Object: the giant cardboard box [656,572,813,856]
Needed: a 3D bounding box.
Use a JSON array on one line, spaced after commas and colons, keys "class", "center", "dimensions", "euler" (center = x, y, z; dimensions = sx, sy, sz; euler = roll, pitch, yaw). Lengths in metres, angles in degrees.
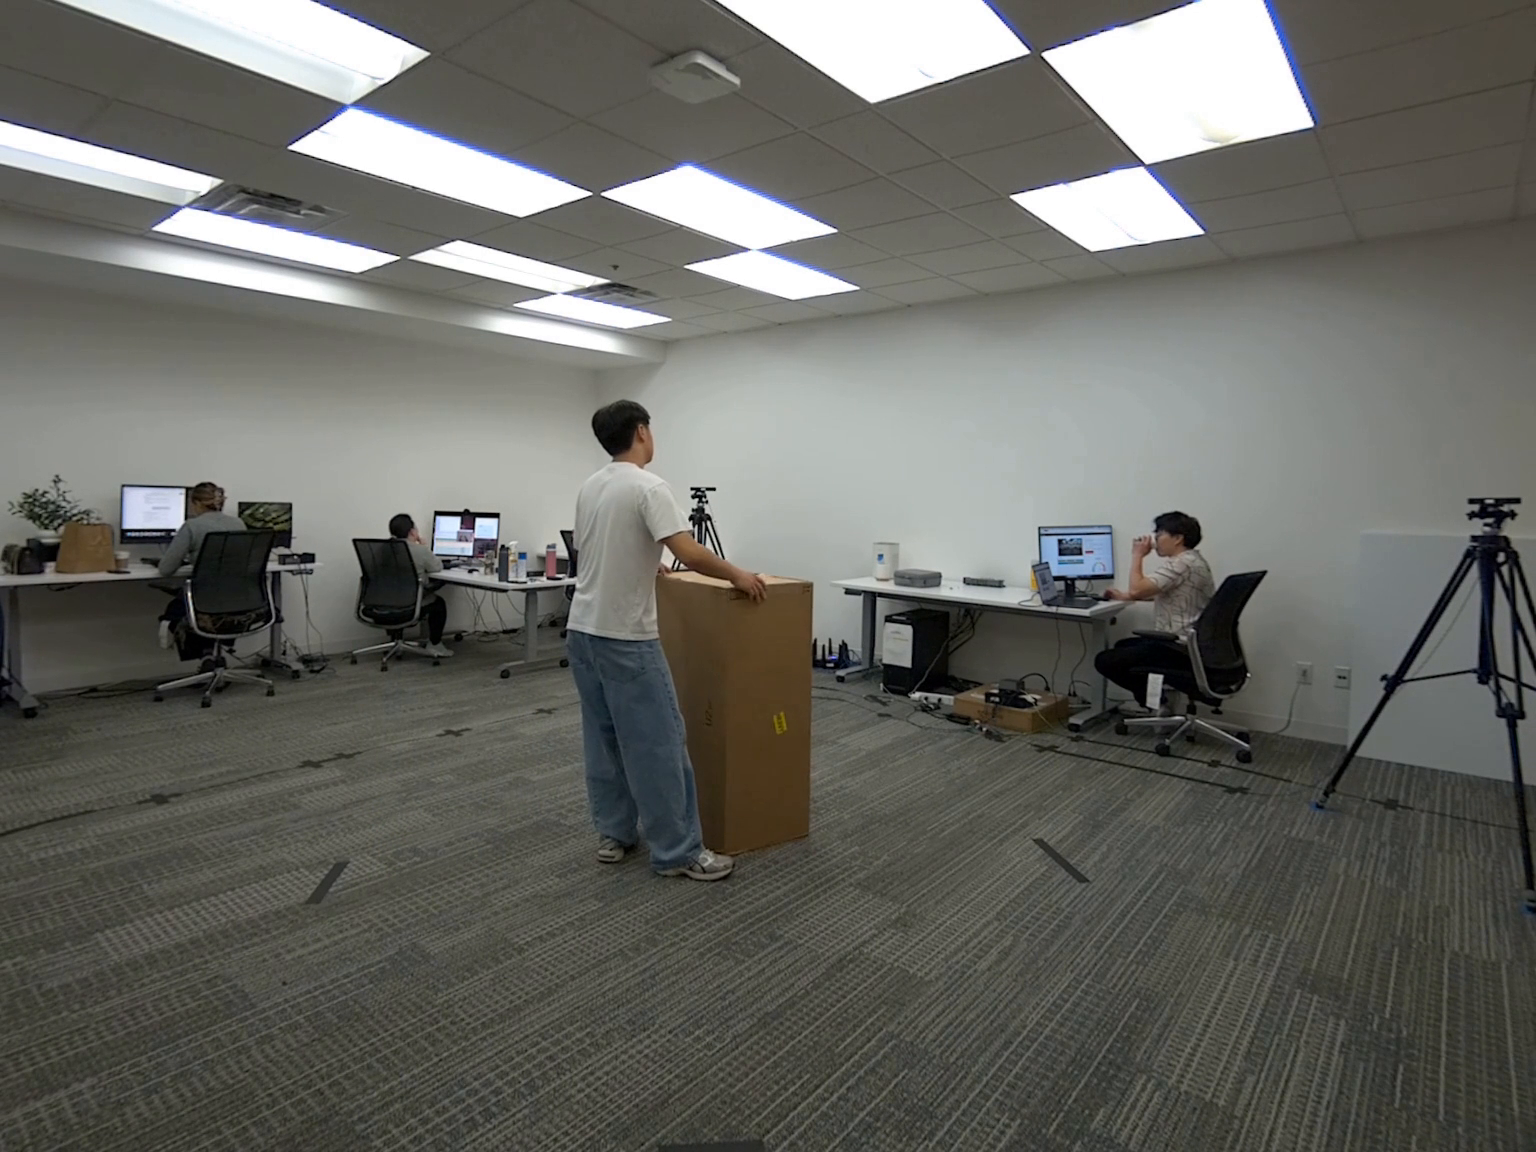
[{"class": "giant cardboard box", "center": [-0.173, 0.515, 3.526], "dimensions": [0.414, 1.023, 0.596], "euler": [-2, 4, -36]}]
